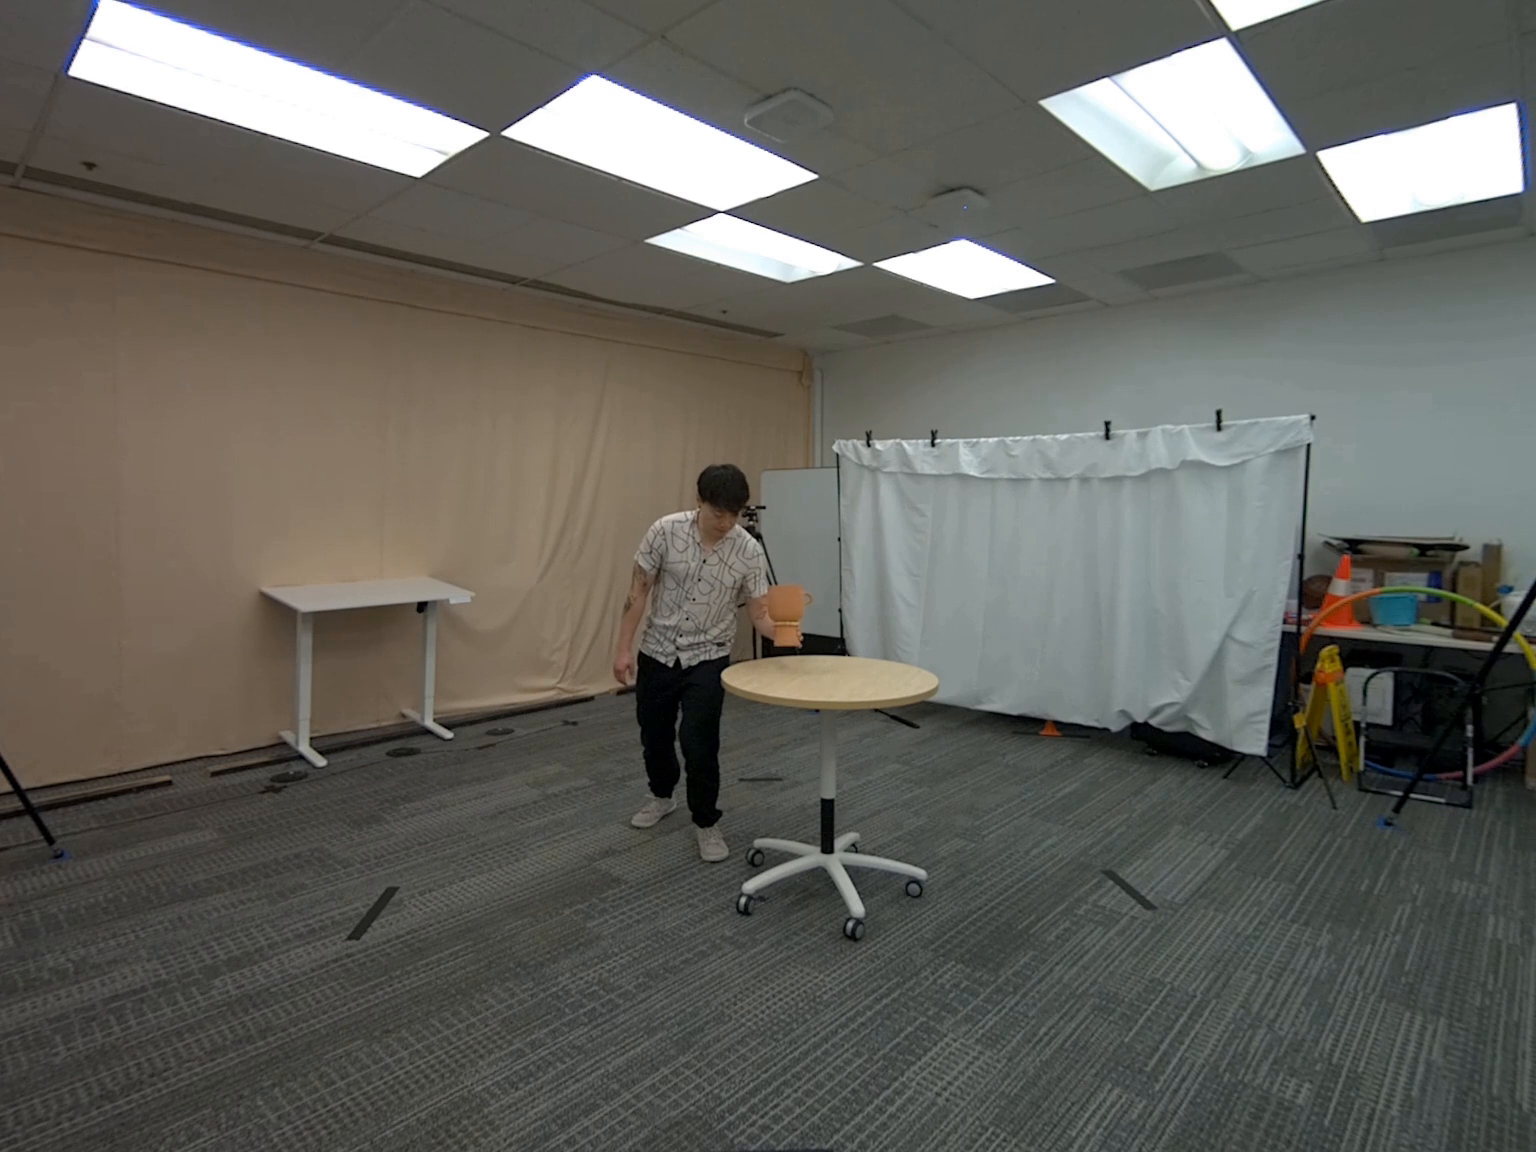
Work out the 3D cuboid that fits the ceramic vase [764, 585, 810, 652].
[{"bbox_3d":[0.072,0.141,3.101,0.163,0.220,0.130,-5,-6,41],"label":"ceramic vase"}]
